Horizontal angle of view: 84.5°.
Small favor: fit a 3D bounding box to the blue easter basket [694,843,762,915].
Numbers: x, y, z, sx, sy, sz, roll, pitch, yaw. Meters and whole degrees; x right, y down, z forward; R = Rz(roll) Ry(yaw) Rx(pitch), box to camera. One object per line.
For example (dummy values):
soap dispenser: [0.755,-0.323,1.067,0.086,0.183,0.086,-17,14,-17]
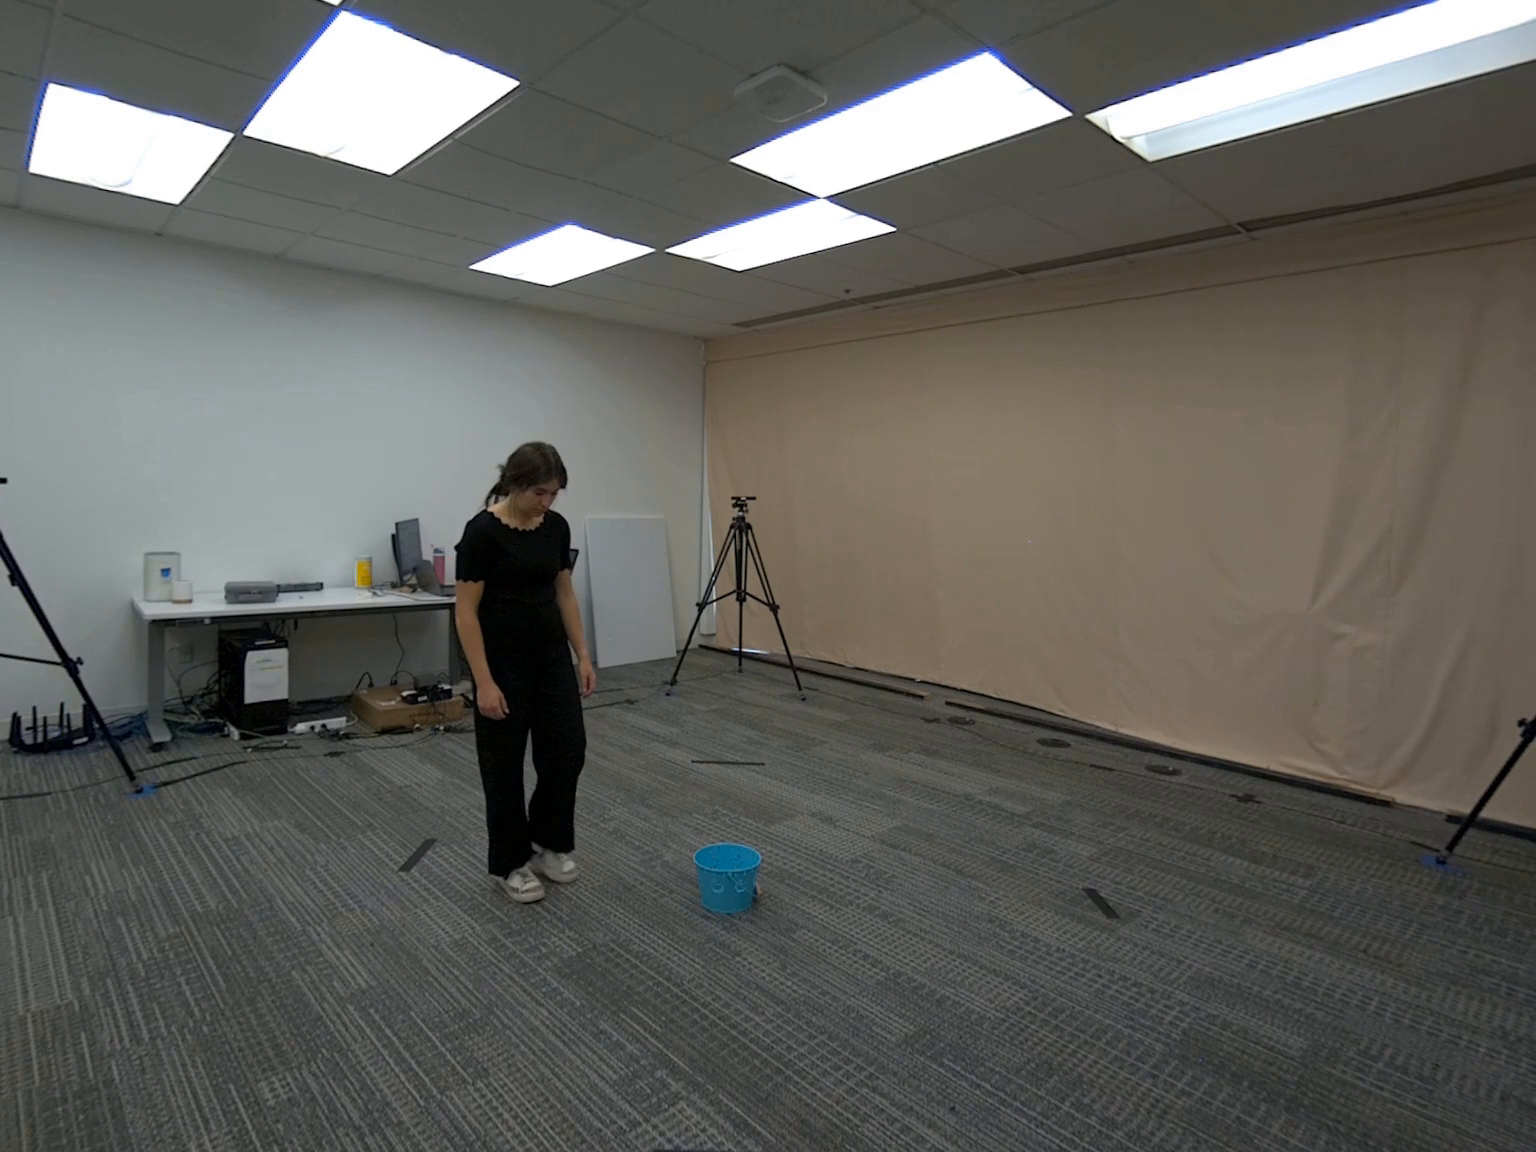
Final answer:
blue easter basket: [-0.145,1.044,2.906,0.243,0.155,0.244,1,5,-1]
